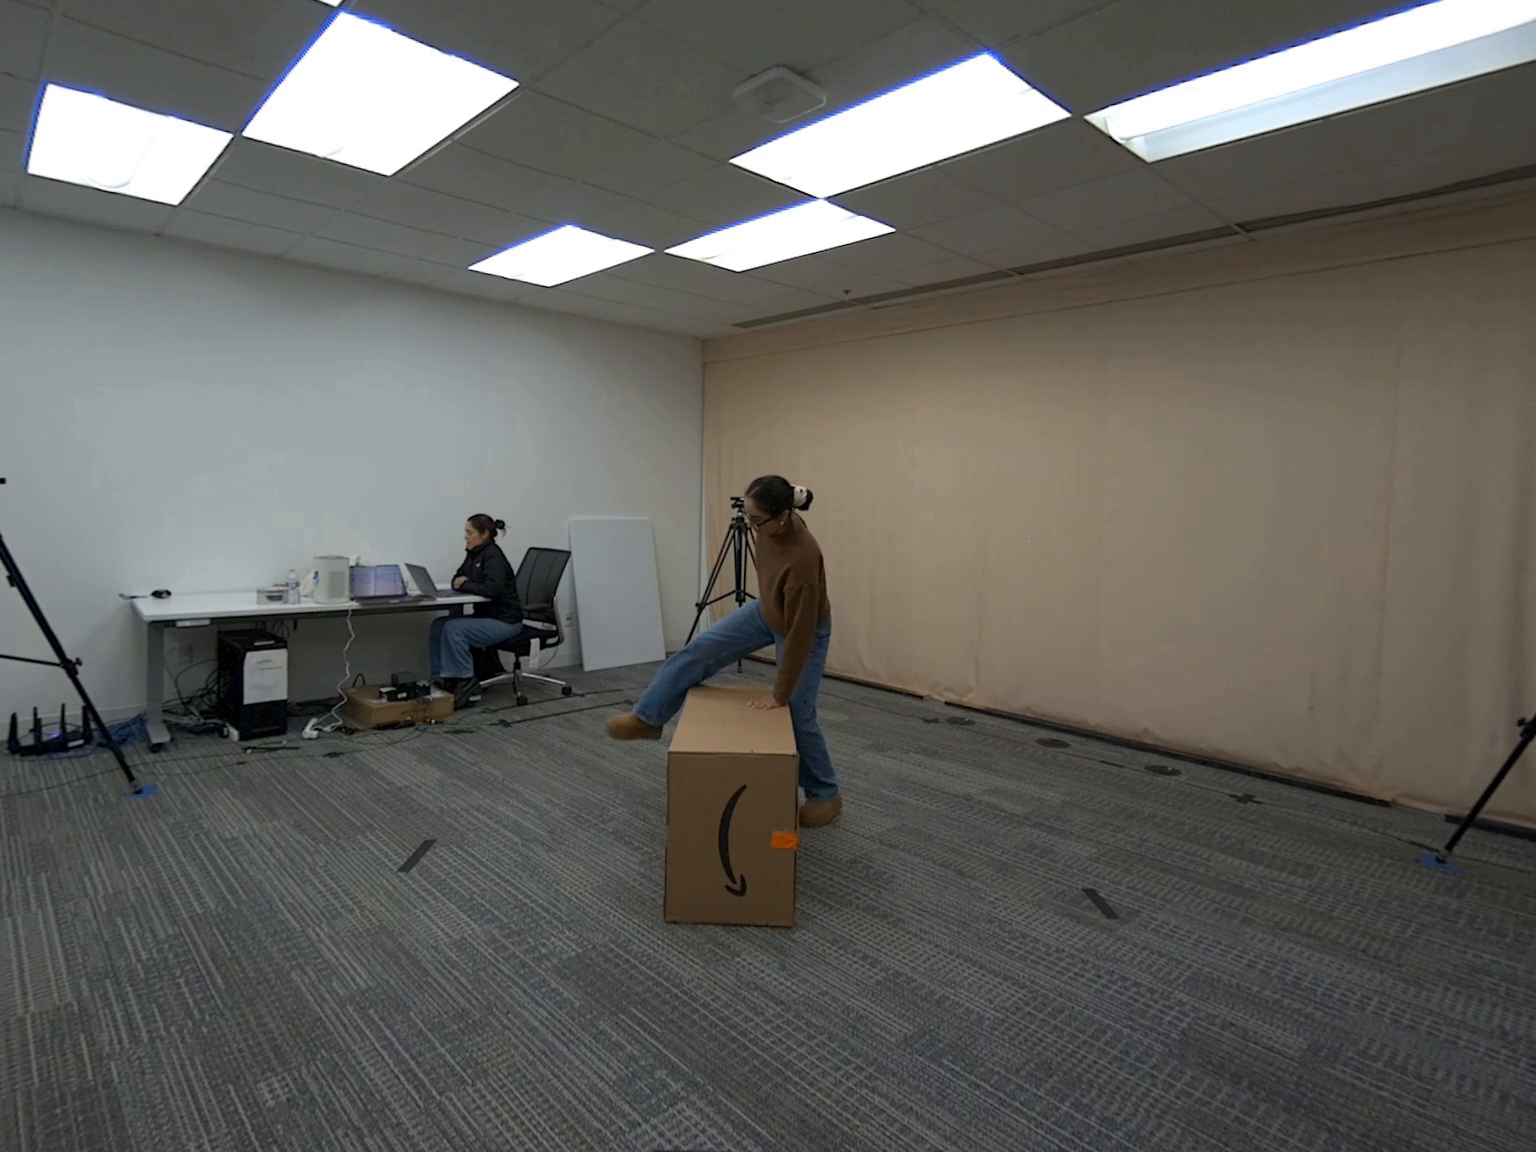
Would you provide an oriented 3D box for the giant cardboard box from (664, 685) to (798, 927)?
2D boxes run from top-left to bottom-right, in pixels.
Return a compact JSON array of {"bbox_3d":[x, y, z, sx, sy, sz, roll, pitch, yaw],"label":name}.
[{"bbox_3d":[-0.133,0.814,3.226,0.447,0.582,1.029,0,5,0],"label":"giant cardboard box"}]
